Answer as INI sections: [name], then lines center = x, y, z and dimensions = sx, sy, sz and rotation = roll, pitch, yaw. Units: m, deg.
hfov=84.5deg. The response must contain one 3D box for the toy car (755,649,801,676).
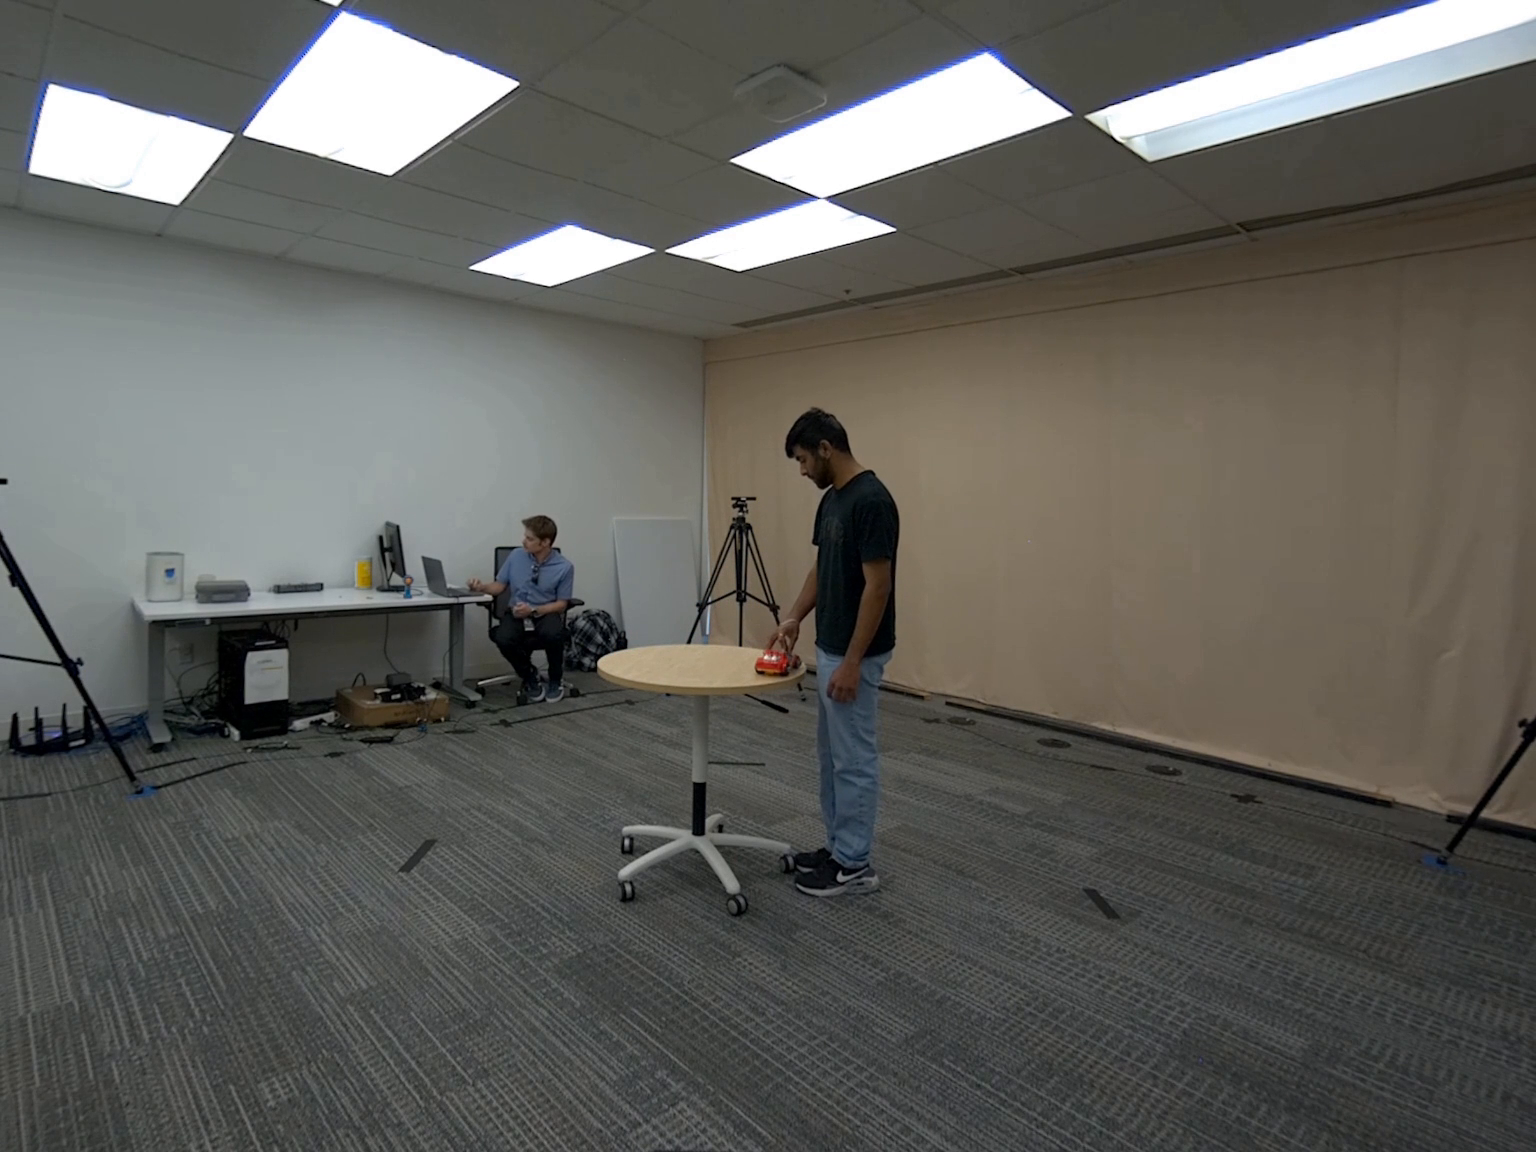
[toy car]
center = 0.025, 0.309, 2.977
dimensions = 0.132, 0.083, 0.249
rotation = 5, -5, 19
